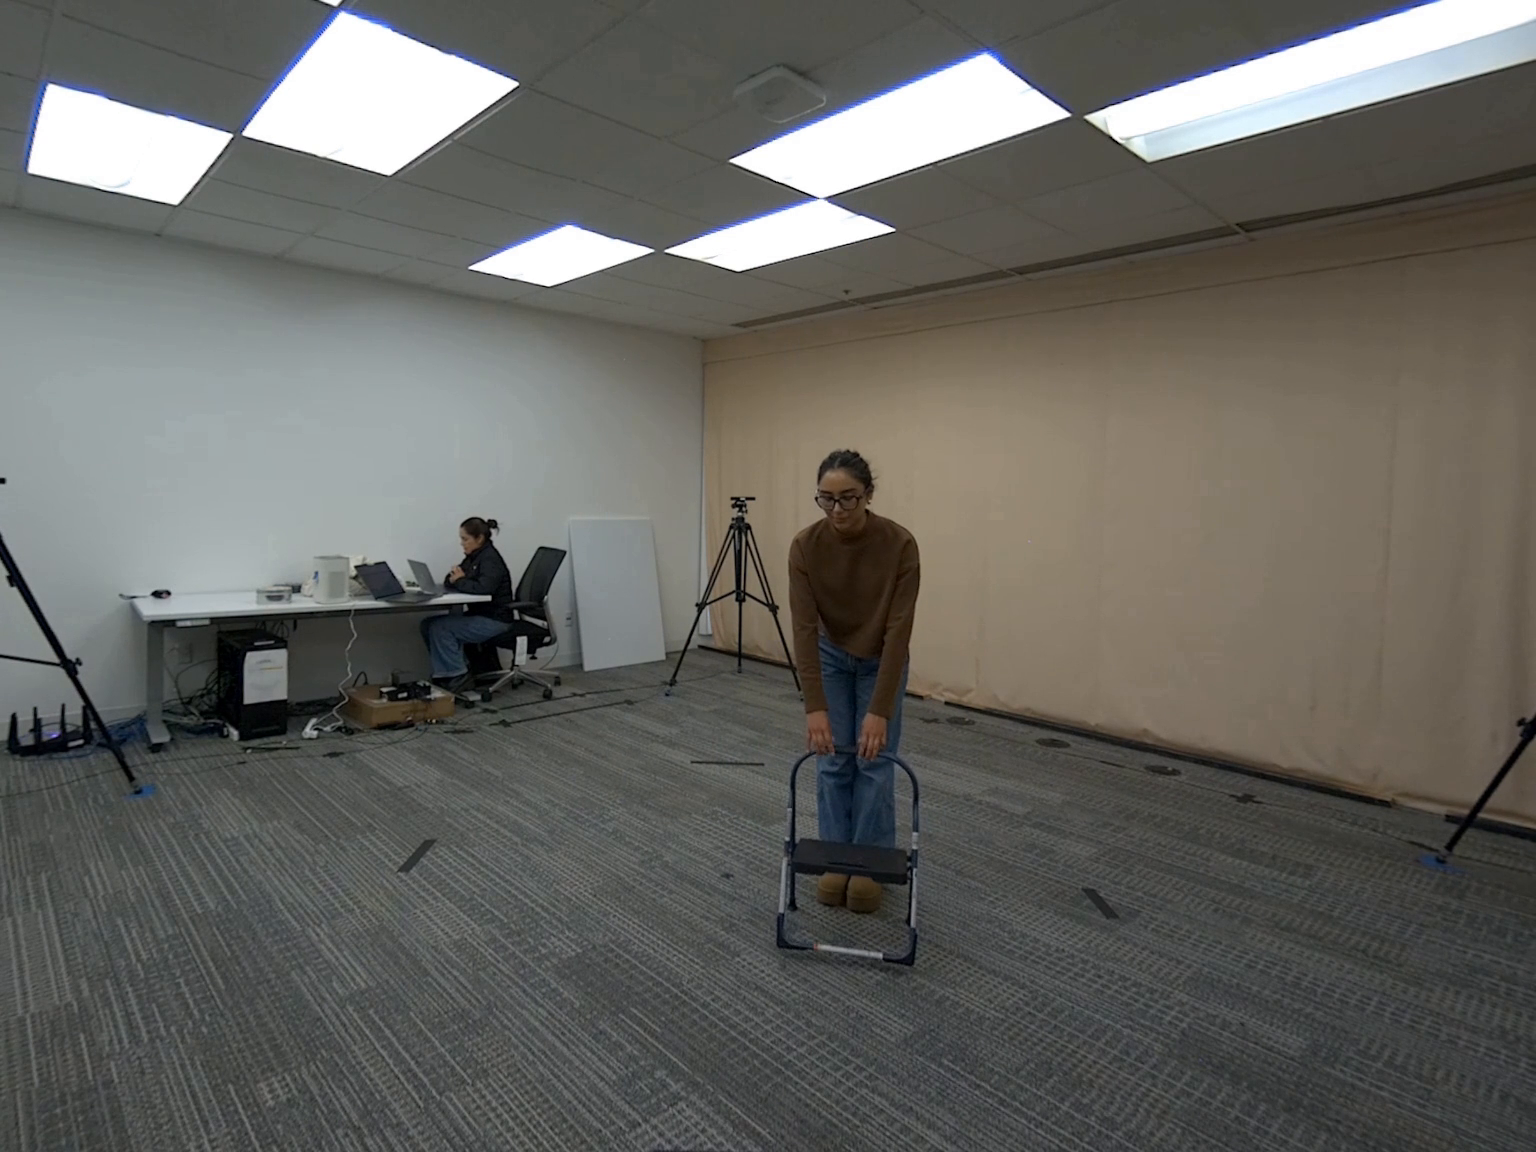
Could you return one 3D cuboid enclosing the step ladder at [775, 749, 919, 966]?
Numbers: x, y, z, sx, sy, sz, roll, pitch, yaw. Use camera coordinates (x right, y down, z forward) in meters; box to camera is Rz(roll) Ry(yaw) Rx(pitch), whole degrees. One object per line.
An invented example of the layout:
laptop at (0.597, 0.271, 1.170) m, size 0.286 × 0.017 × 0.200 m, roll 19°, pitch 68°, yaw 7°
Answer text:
step ladder at (0.259, 0.844, 2.681) m, size 0.435 × 0.607 × 0.345 m, roll 2°, pitch -2°, yaw 11°
